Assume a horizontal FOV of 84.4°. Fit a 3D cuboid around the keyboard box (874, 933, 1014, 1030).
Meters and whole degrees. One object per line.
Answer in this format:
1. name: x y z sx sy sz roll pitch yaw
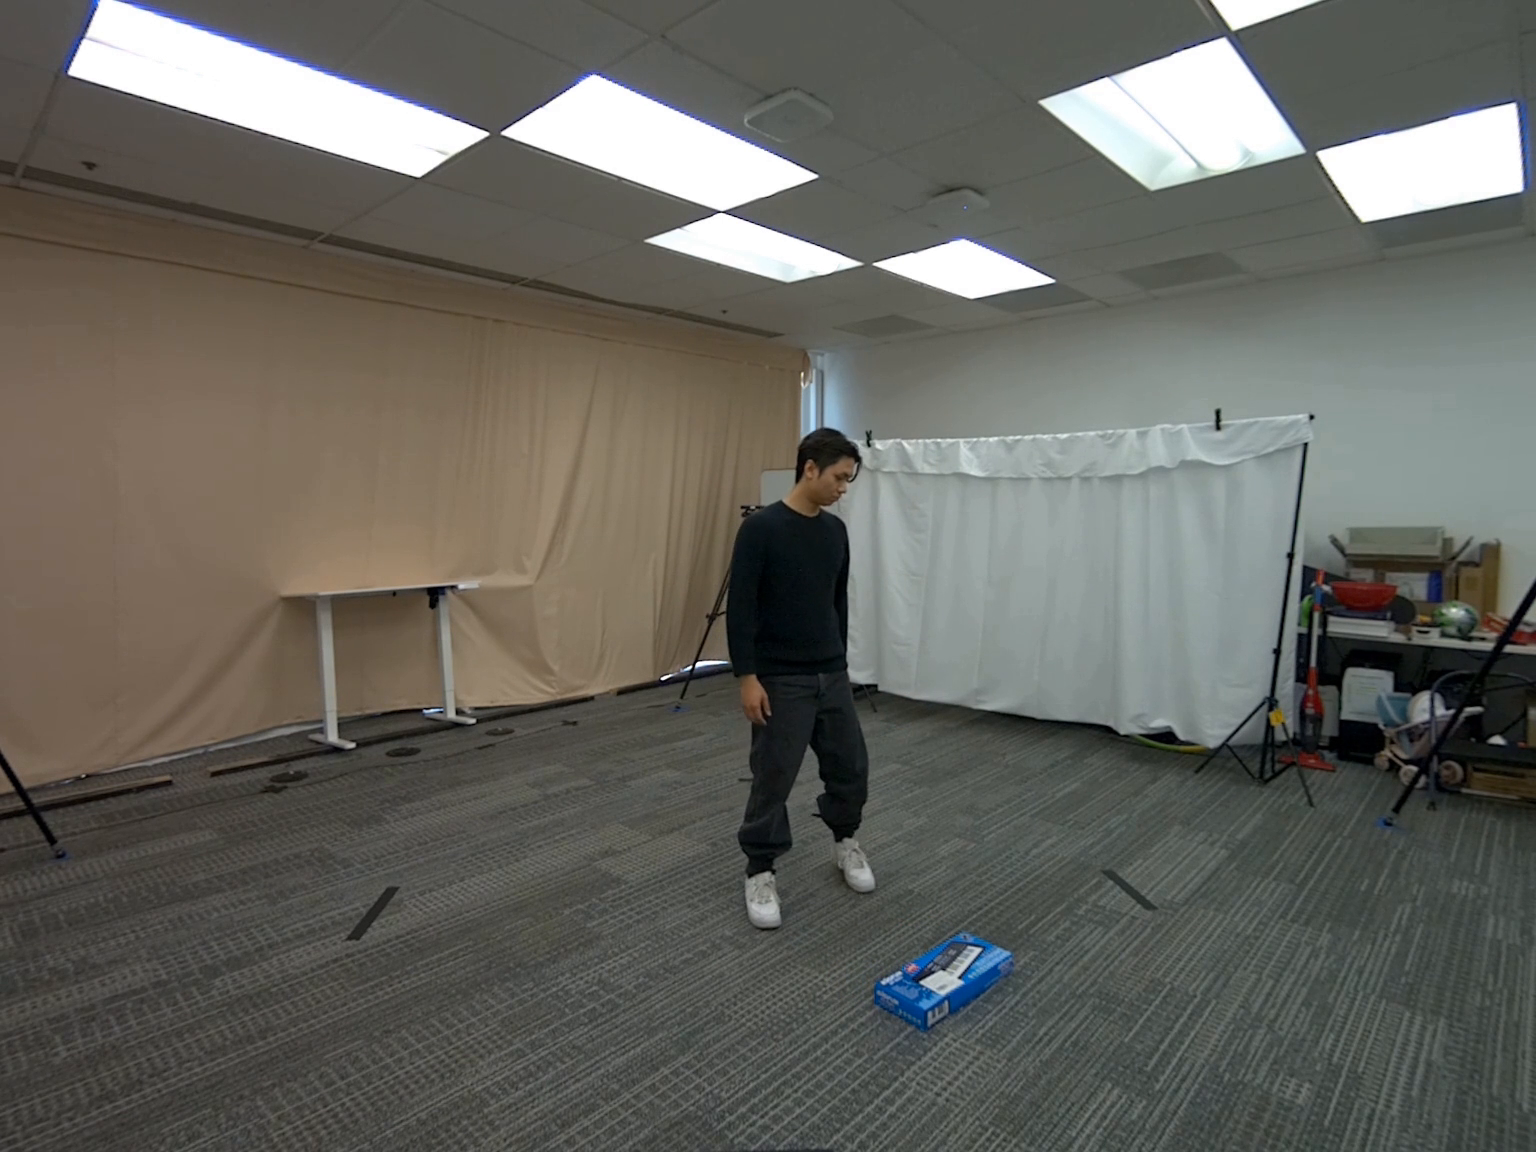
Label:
1. keyboard box: 0.526 1.161 2.426 0.423 0.059 0.182 -5 7 -42
